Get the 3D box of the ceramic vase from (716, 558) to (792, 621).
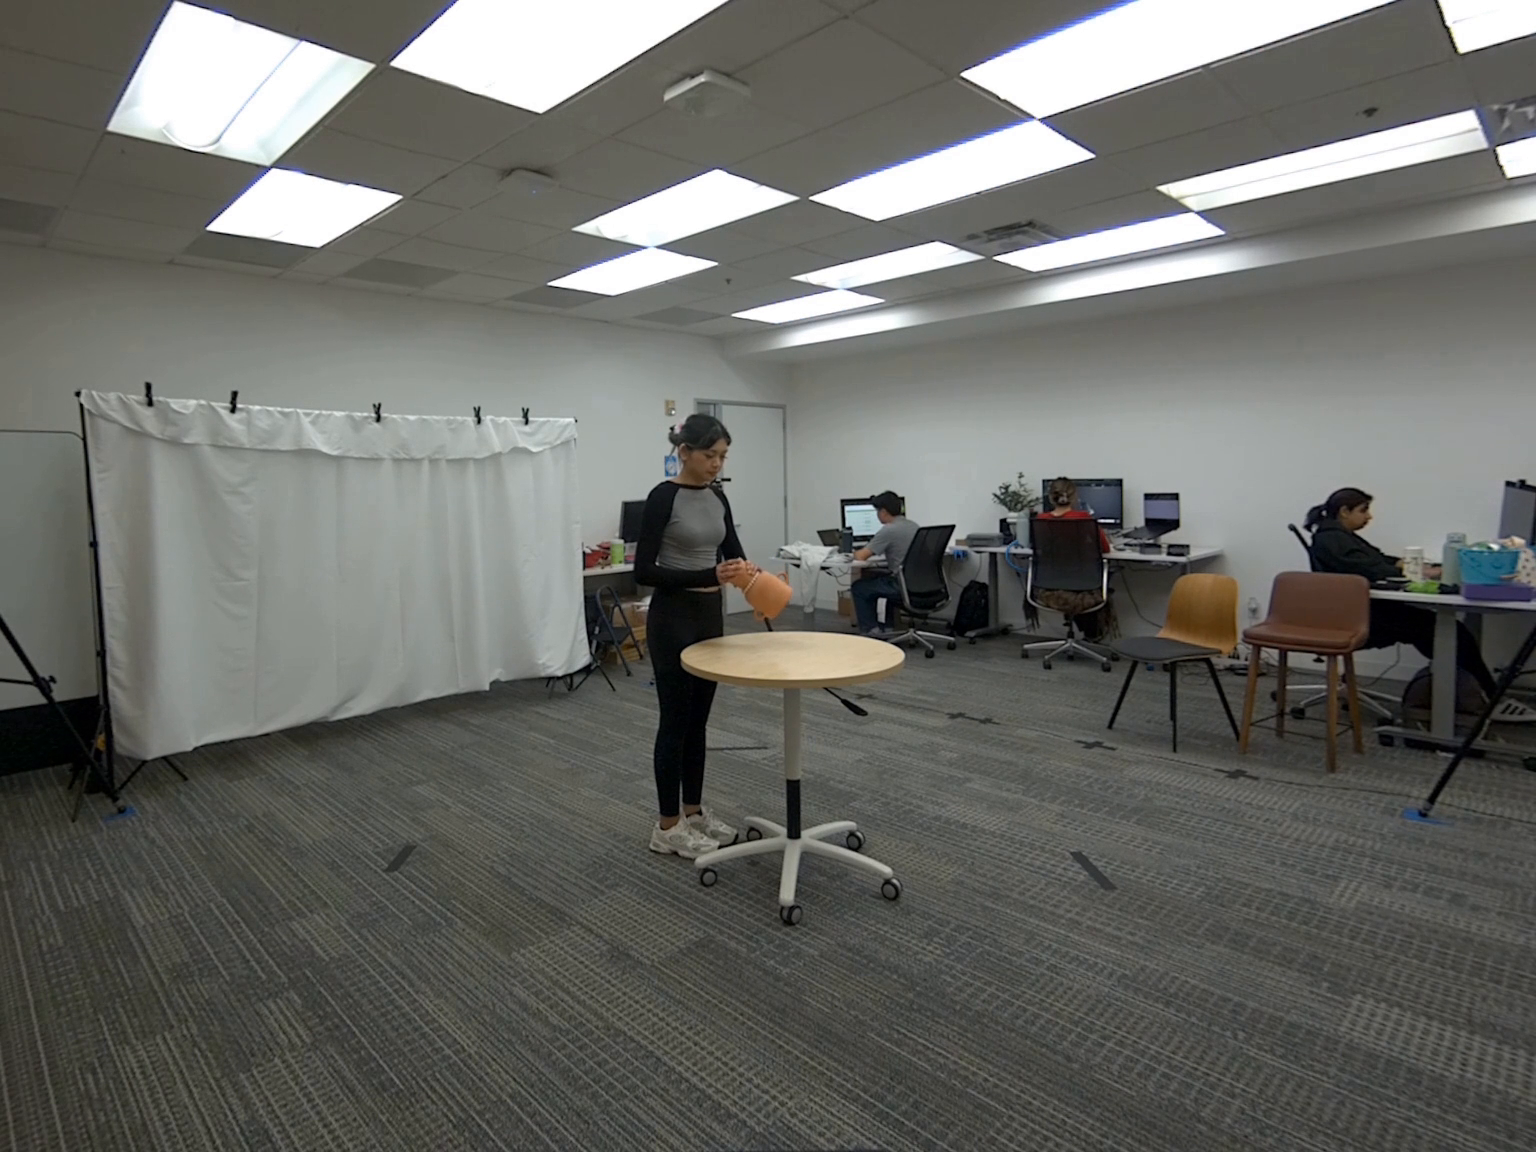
[{"bbox_3d":[-0.029,0.036,3.009,0.220,0.134,0.160,33,33,-1],"label":"ceramic vase"}]
